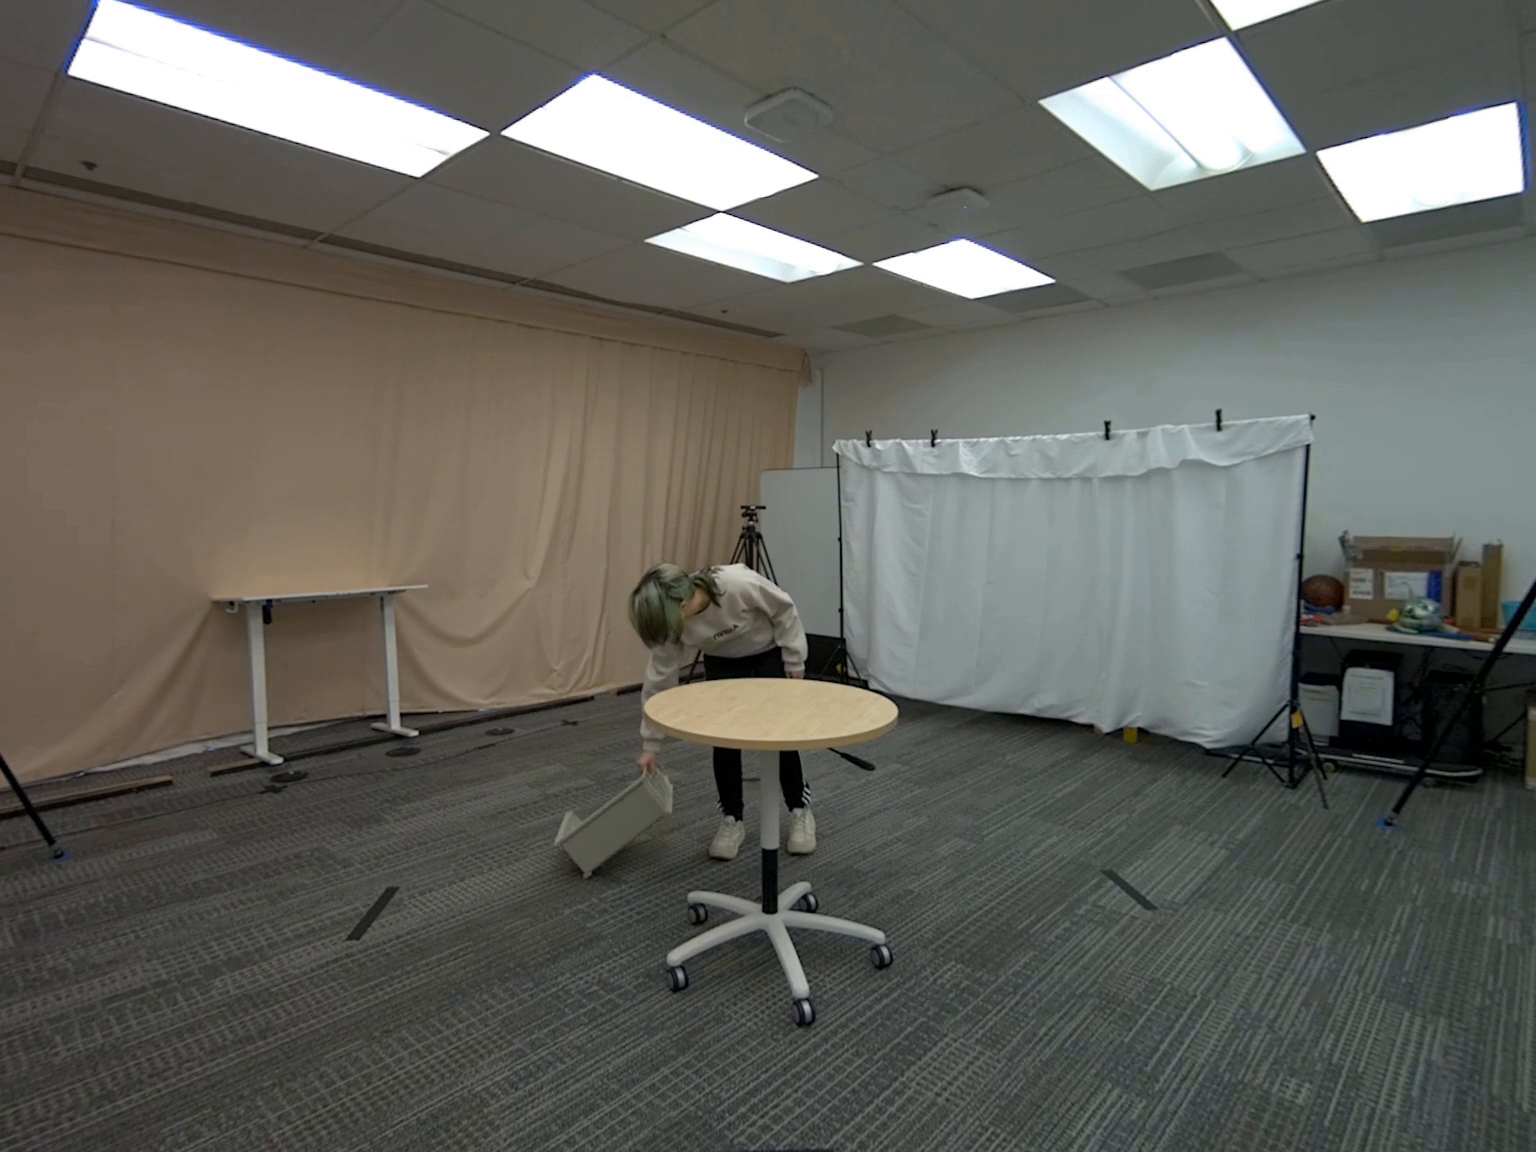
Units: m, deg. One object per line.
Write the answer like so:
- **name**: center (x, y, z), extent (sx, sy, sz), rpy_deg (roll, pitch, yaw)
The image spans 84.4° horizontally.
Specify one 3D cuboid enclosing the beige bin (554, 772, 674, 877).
- **beige bin**: center (-0.591, 0.922, 3.309), extent (0.422, 0.187, 0.380), rpy_deg (-37, 8, -1)
